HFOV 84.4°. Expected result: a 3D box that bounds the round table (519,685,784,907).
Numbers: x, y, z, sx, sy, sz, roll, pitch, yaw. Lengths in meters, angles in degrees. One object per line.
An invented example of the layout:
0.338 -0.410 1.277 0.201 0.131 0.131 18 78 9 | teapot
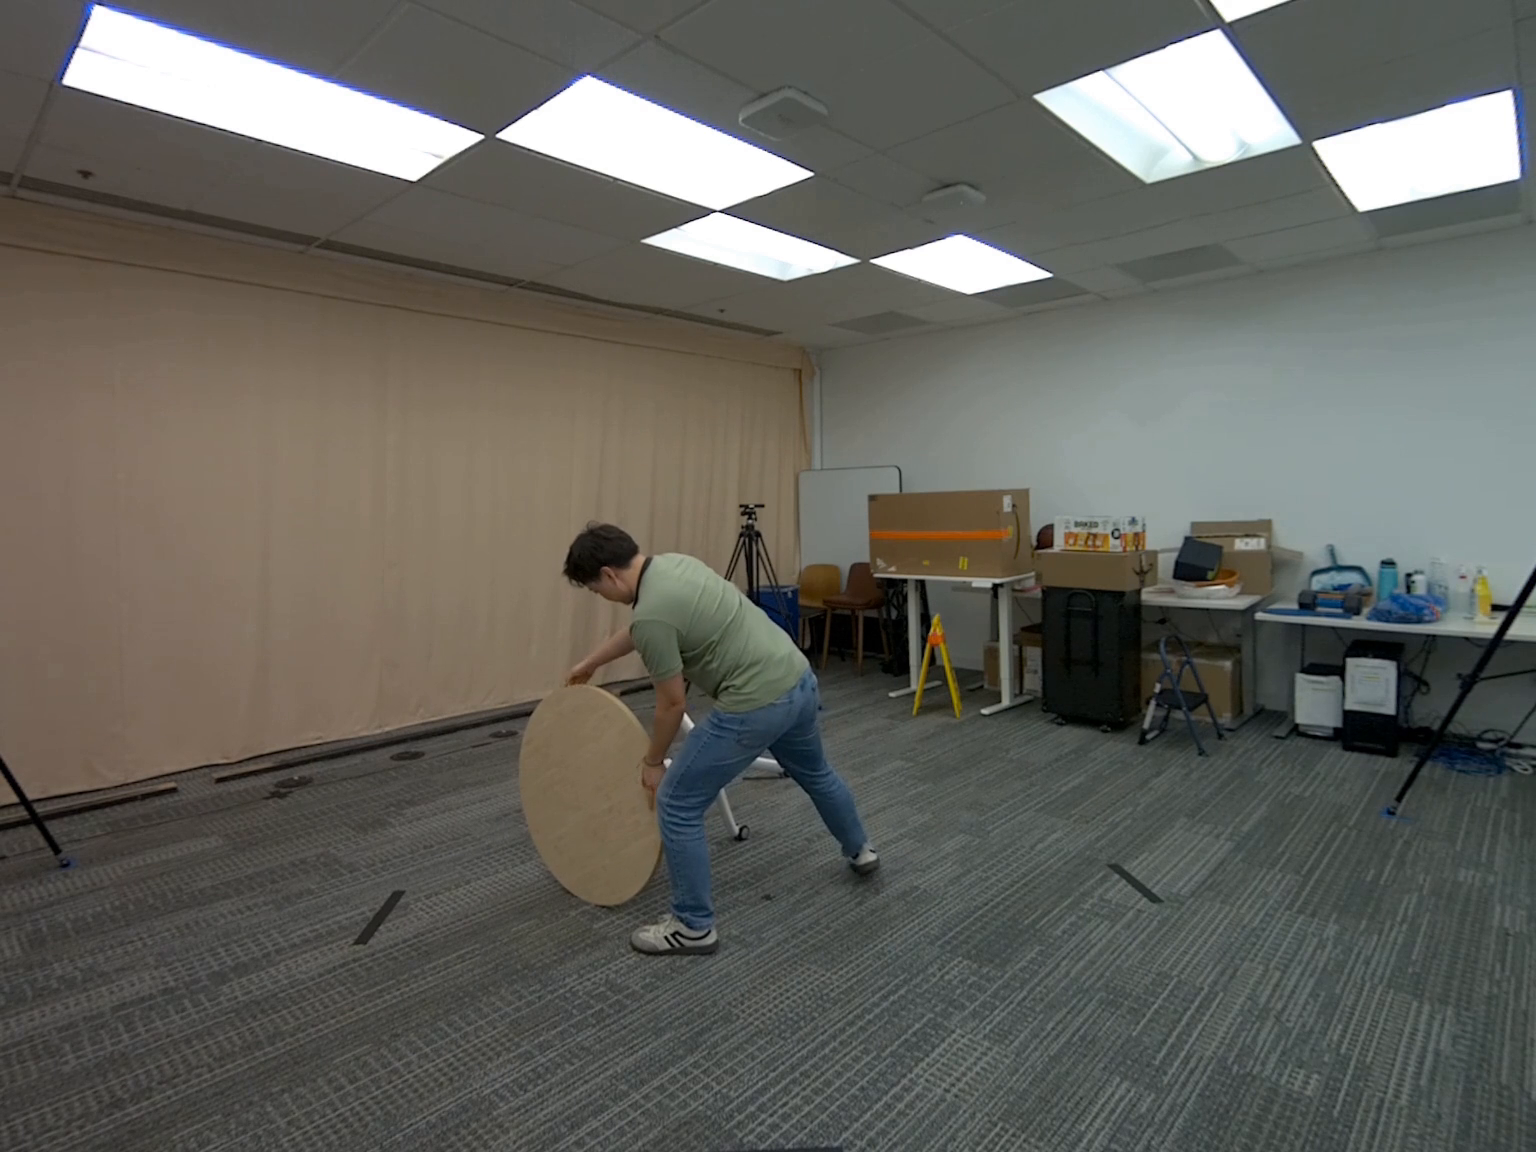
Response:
-0.415 0.753 3.283 0.789 0.763 0.770 2 3 38 | round table
